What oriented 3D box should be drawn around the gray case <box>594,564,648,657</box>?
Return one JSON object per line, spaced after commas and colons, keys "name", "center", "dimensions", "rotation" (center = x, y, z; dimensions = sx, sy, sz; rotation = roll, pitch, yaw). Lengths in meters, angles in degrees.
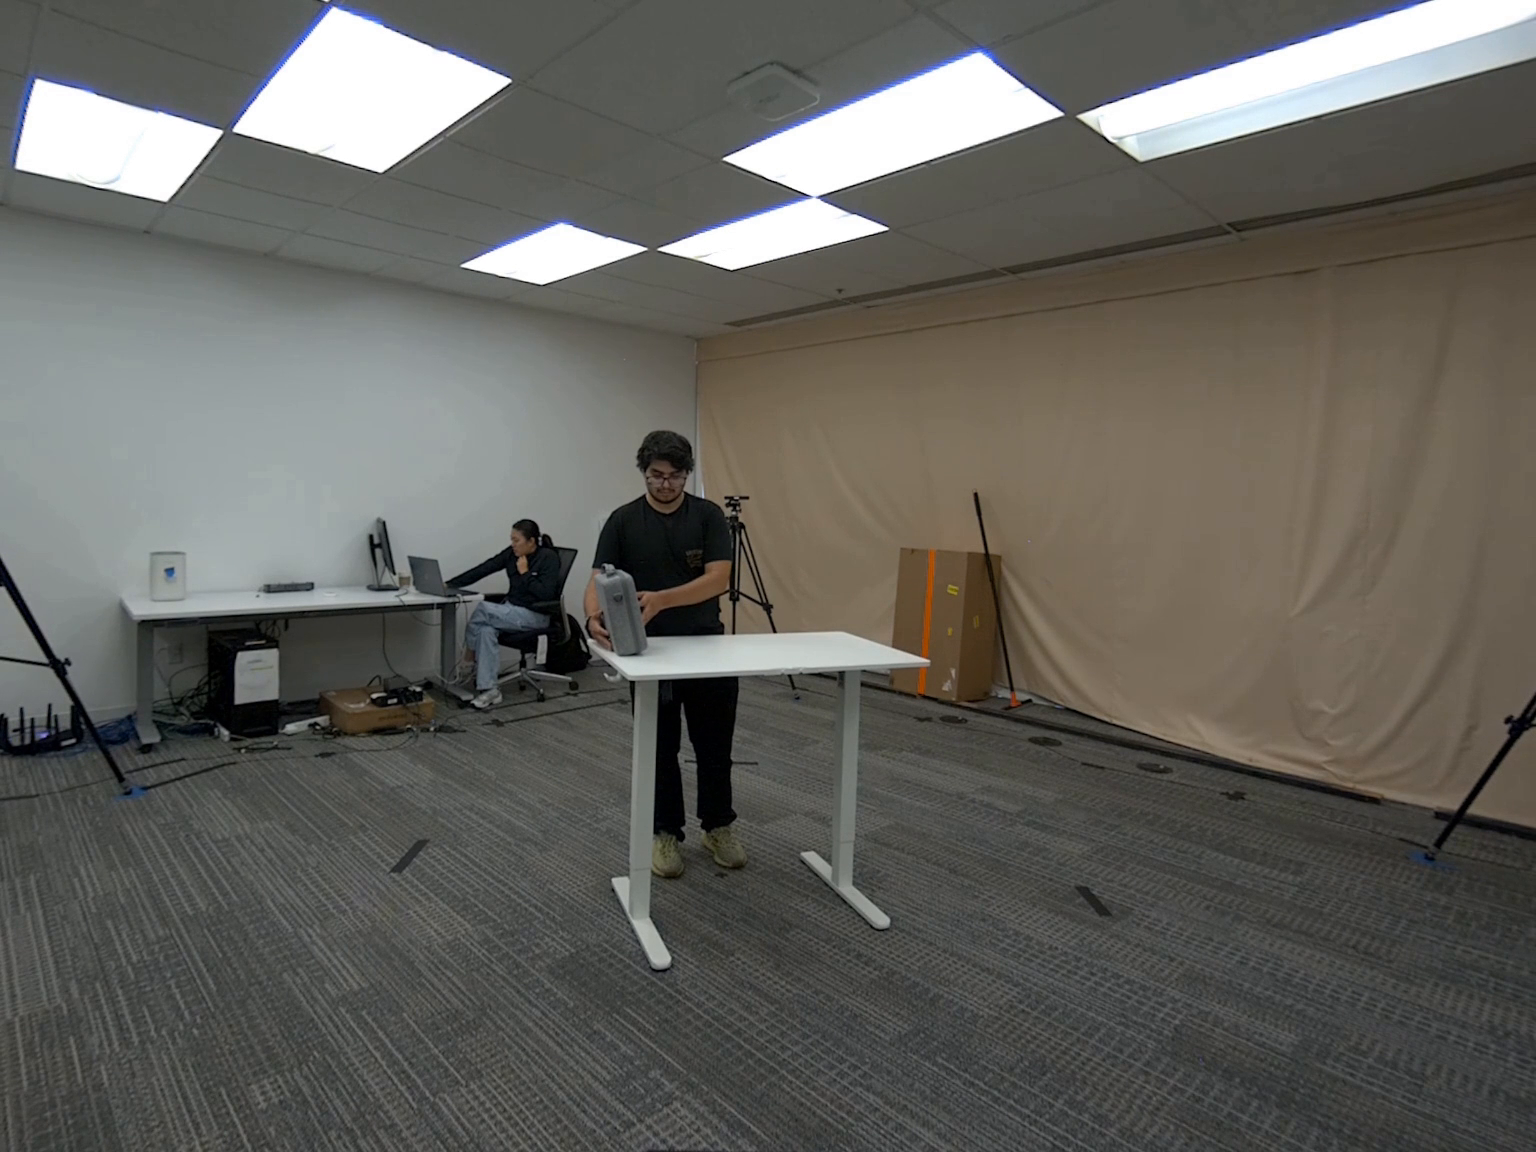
{"name": "gray case", "center": [-0.498, 0.118, 2.730], "dimensions": [0.103, 0.259, 0.261], "rotation": [-9, 7, -16]}
